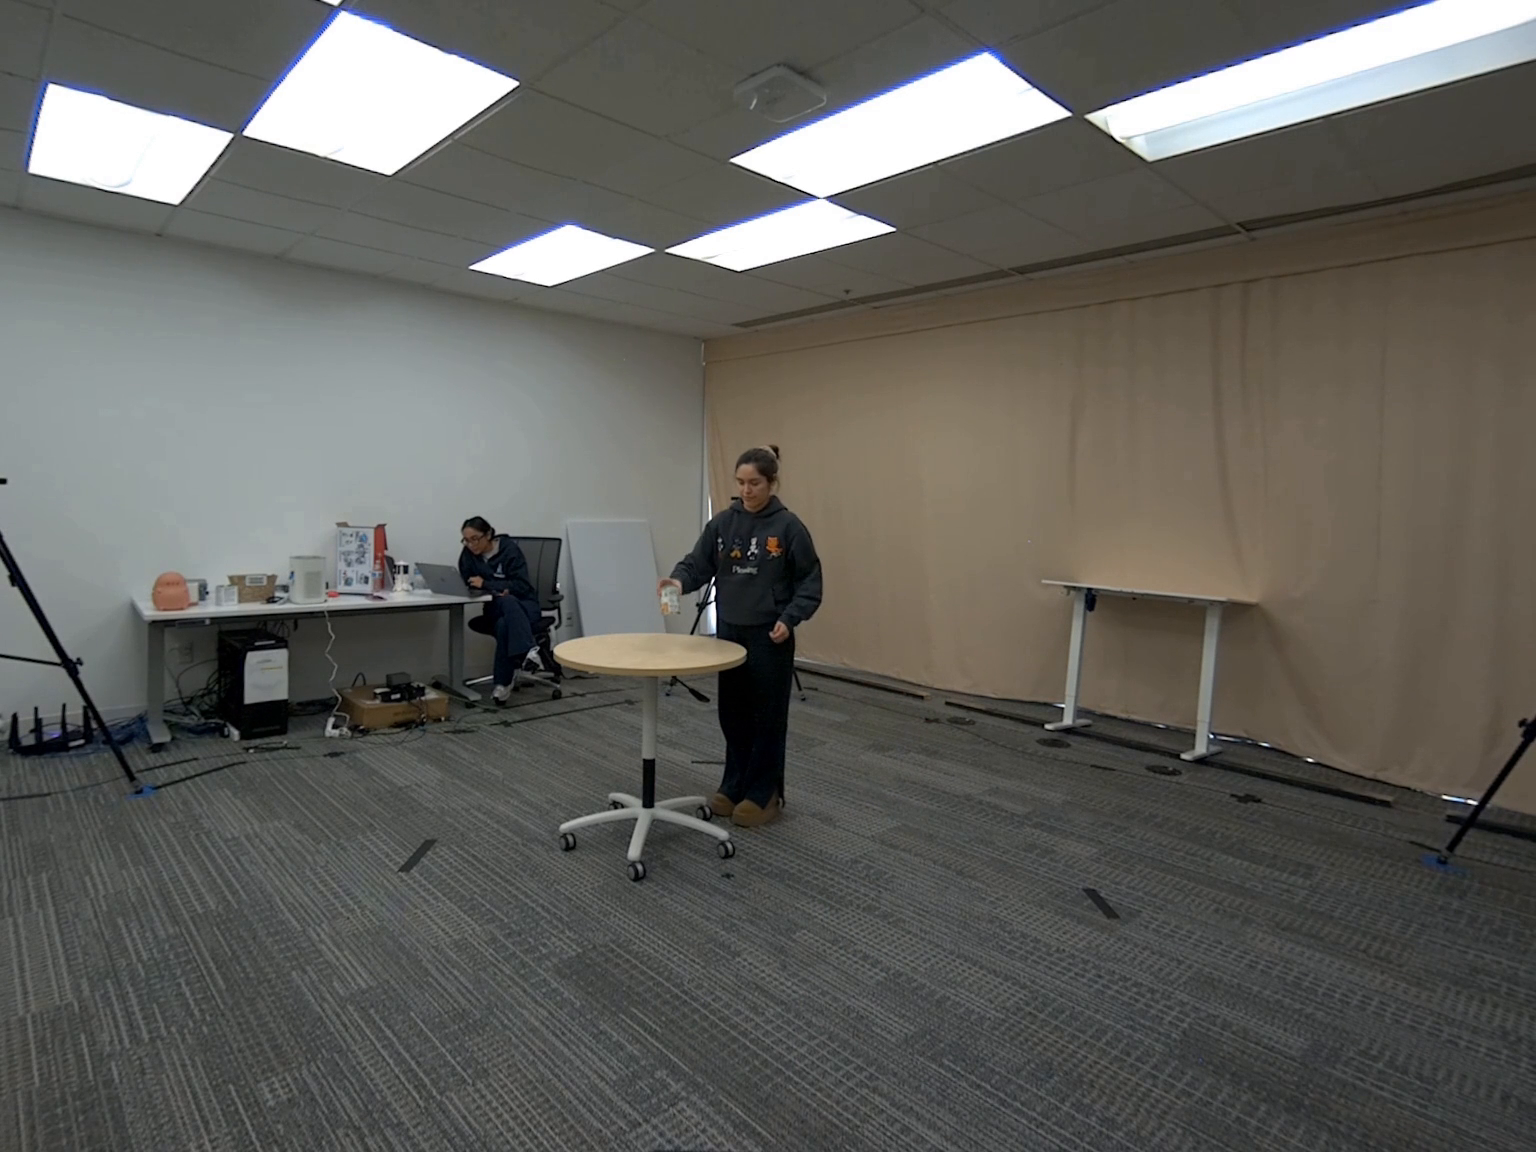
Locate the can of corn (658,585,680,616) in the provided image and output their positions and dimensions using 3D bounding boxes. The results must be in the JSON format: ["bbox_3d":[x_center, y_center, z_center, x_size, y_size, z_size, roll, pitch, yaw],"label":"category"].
[{"bbox_3d":[-0.411,0.130,3.338,0.074,0.111,0.074,2,2,-1],"label":"can of corn"}]
